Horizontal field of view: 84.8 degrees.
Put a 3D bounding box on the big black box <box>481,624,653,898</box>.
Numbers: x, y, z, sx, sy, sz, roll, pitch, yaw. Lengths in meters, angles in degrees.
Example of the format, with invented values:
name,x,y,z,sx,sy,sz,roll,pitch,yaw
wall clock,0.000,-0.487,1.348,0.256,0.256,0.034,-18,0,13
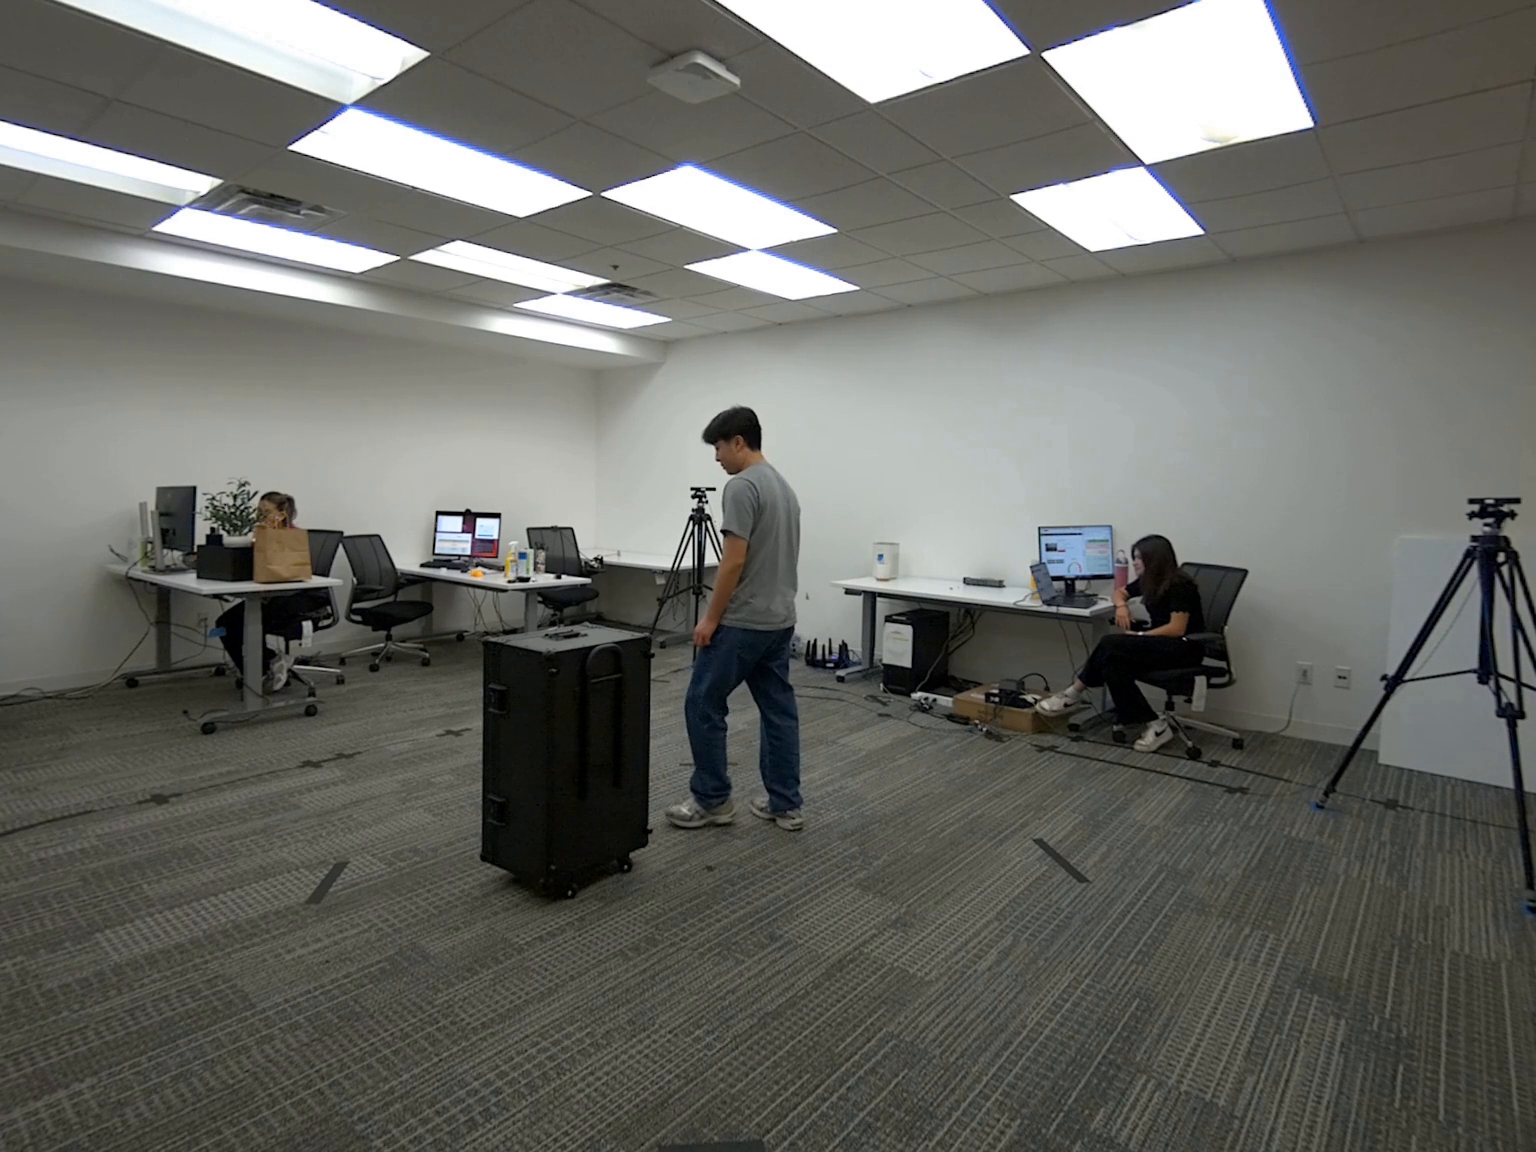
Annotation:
name,x,y,z,sx,sy,sz,roll,pitch,yaw
big black box,-0.717,0.638,3.032,0.409,0.859,0.506,4,5,37
